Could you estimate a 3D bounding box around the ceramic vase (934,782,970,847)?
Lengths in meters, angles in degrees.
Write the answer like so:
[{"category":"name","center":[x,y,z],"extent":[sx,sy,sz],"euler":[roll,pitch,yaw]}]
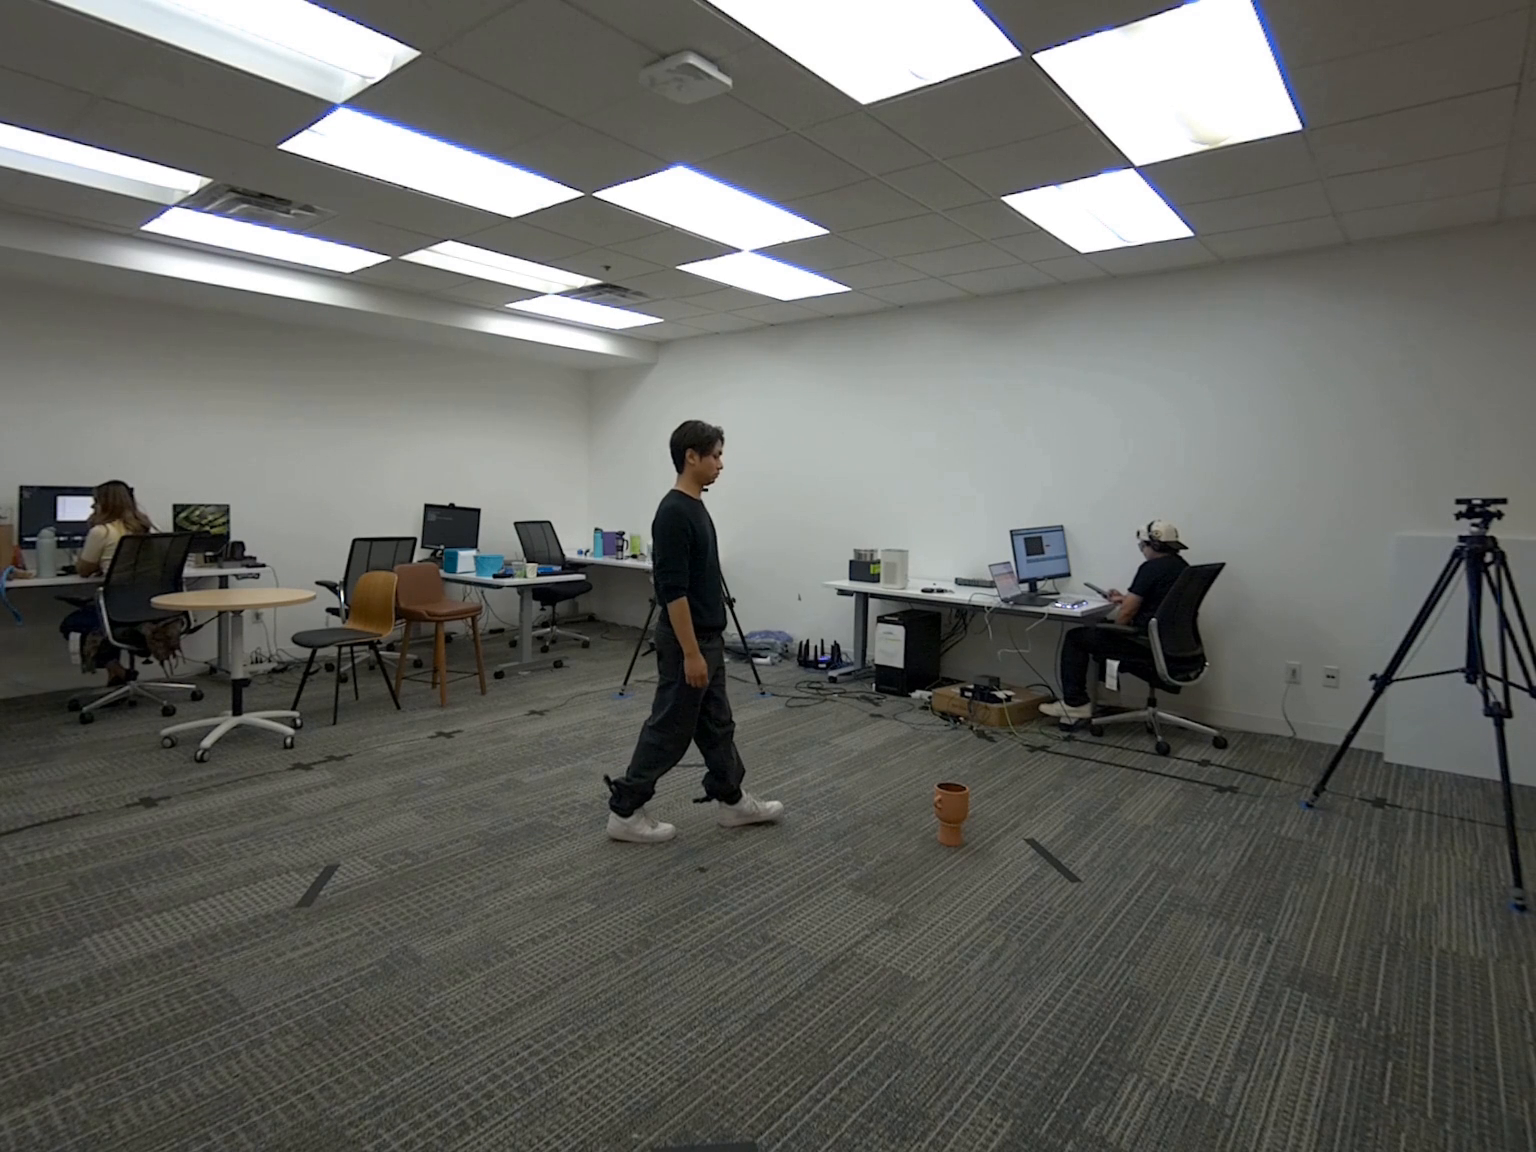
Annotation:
[{"category":"ceramic vase","center":[0.728,0.948,3.416],"extent":[0.159,0.219,0.135],"euler":[2,4,1]}]
